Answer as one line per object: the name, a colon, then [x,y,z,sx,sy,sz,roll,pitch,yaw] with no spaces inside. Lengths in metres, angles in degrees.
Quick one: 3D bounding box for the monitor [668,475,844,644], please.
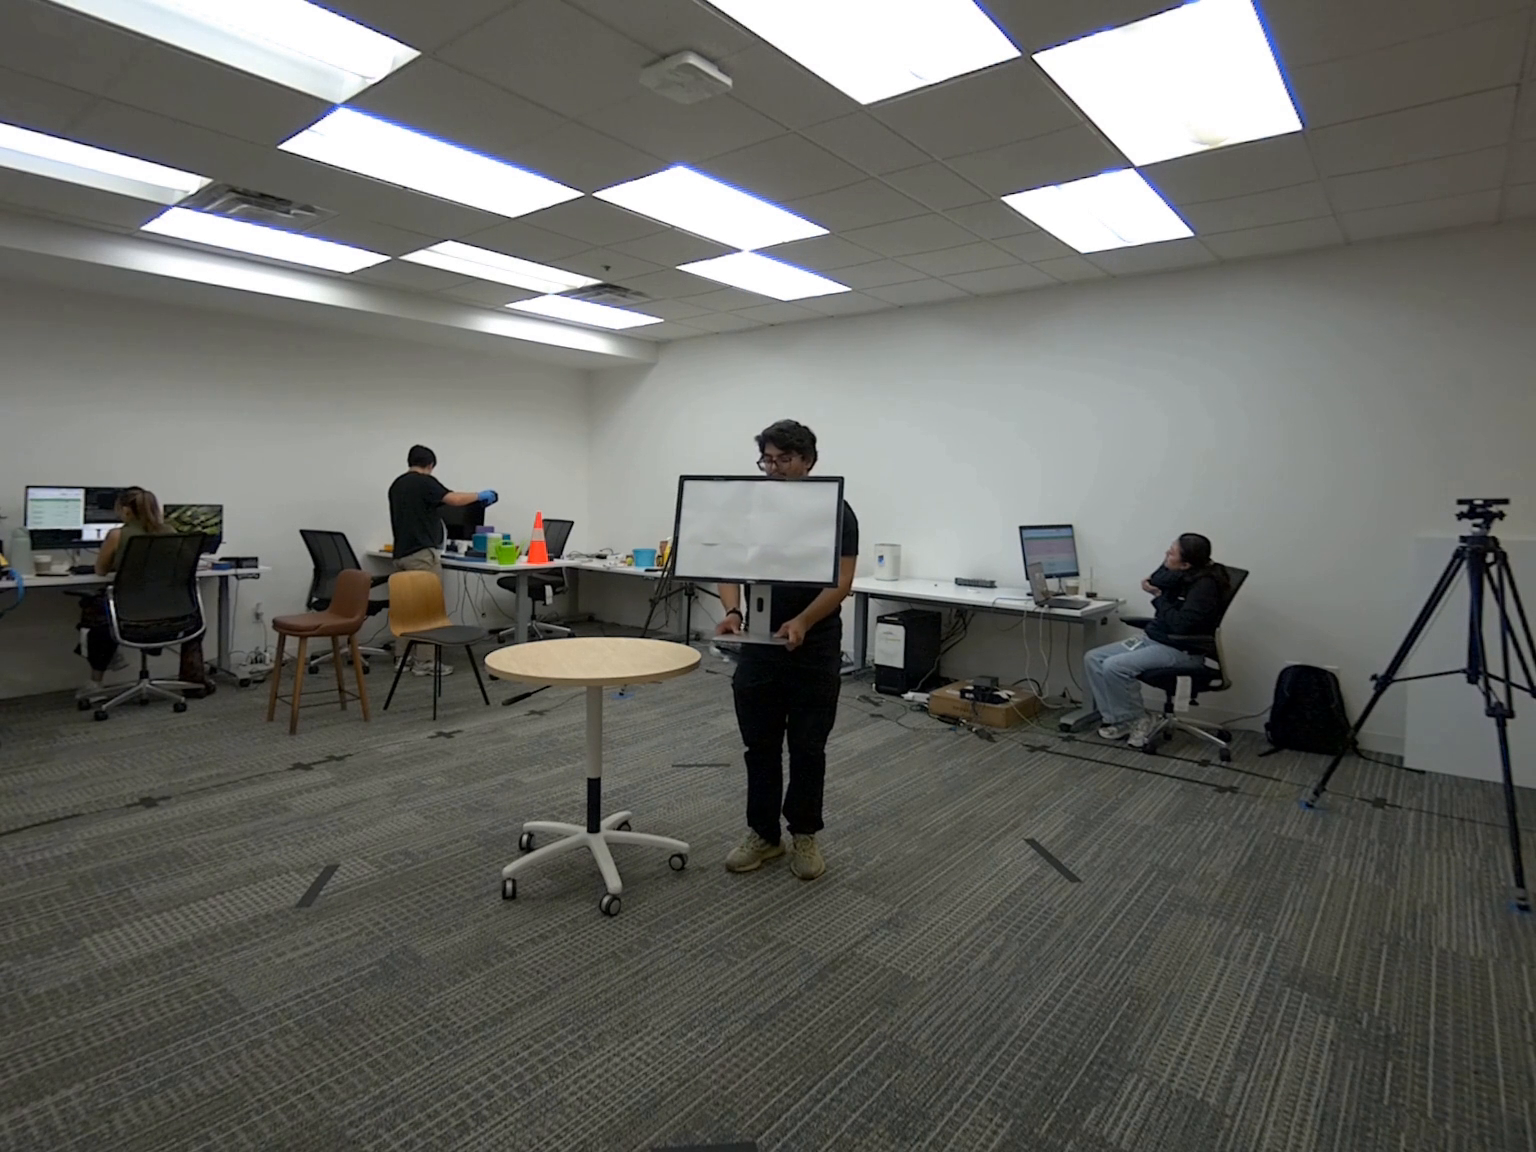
monitor: [-0.041,-0.063,2.845,0.575,0.557,0.205,2,-5,16]
